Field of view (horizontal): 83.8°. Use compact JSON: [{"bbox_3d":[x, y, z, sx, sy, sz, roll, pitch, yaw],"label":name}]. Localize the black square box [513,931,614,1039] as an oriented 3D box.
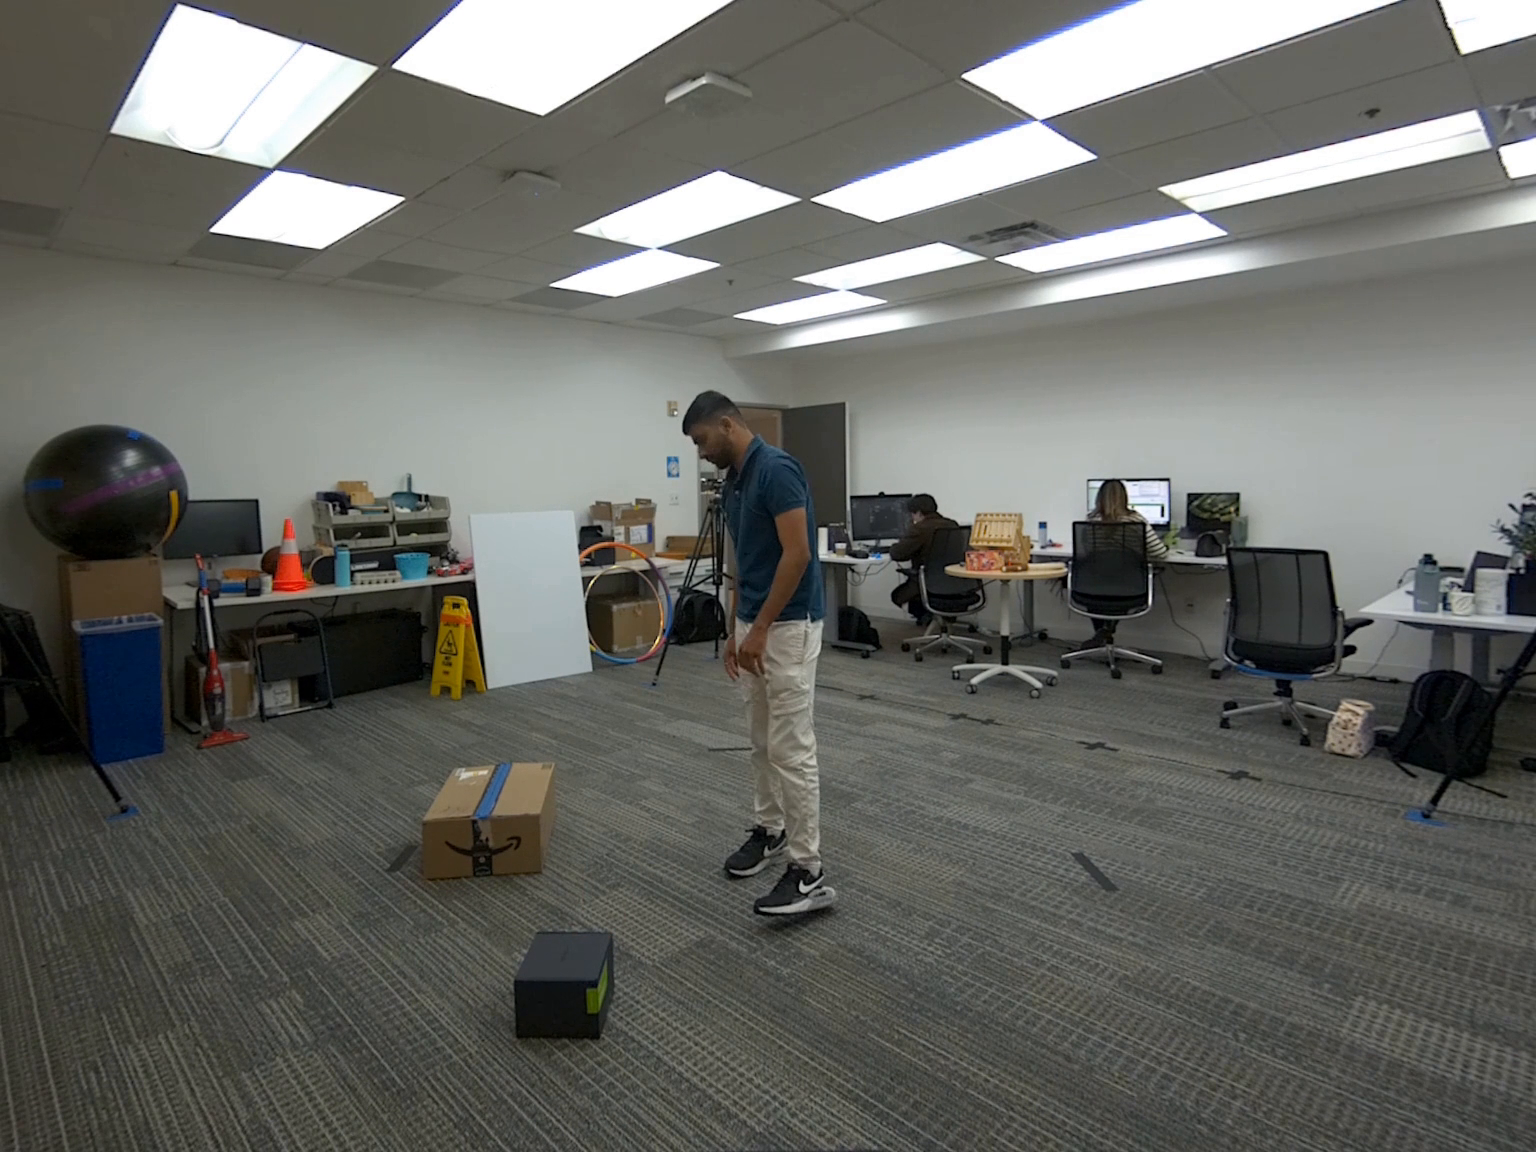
[{"bbox_3d":[-0.527,1.066,2.258,0.217,0.155,0.229,0,6,1],"label":"black square box"}]
